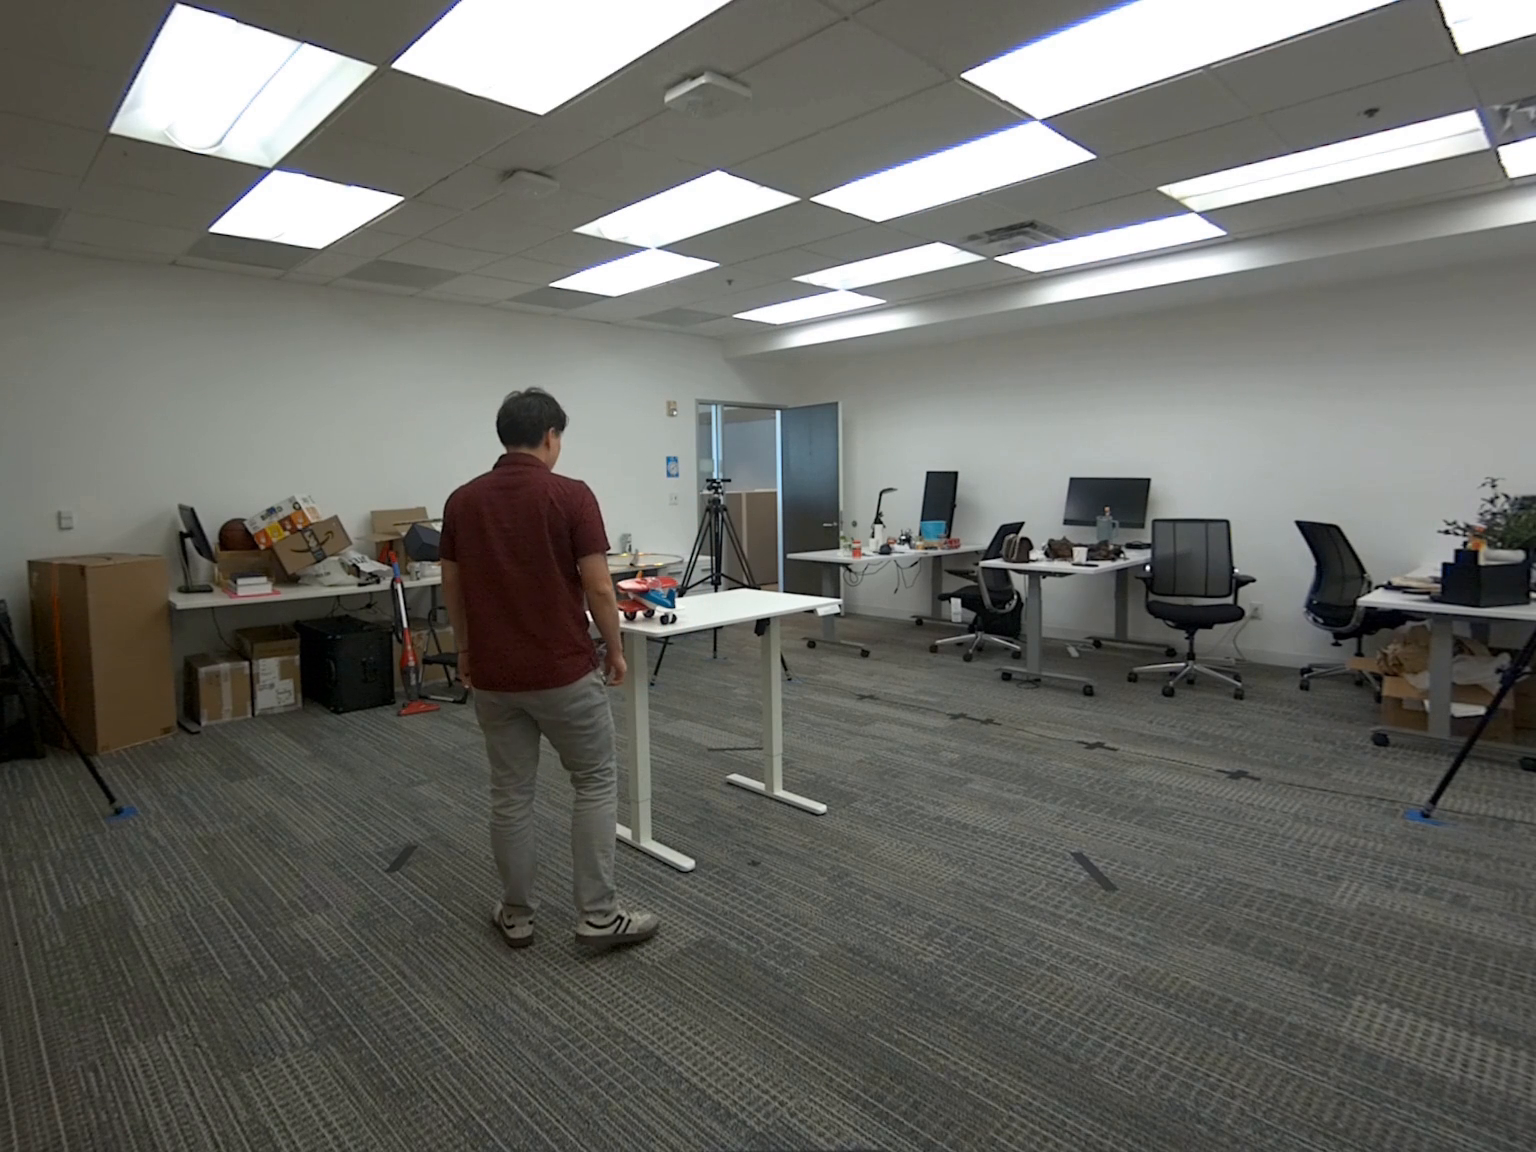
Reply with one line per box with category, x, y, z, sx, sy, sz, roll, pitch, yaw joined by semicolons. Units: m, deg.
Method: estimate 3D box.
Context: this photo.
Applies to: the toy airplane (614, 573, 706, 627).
toy airplane;-0.404;0.085;3.150;0.264;0.156;0.248;-2;6;19
